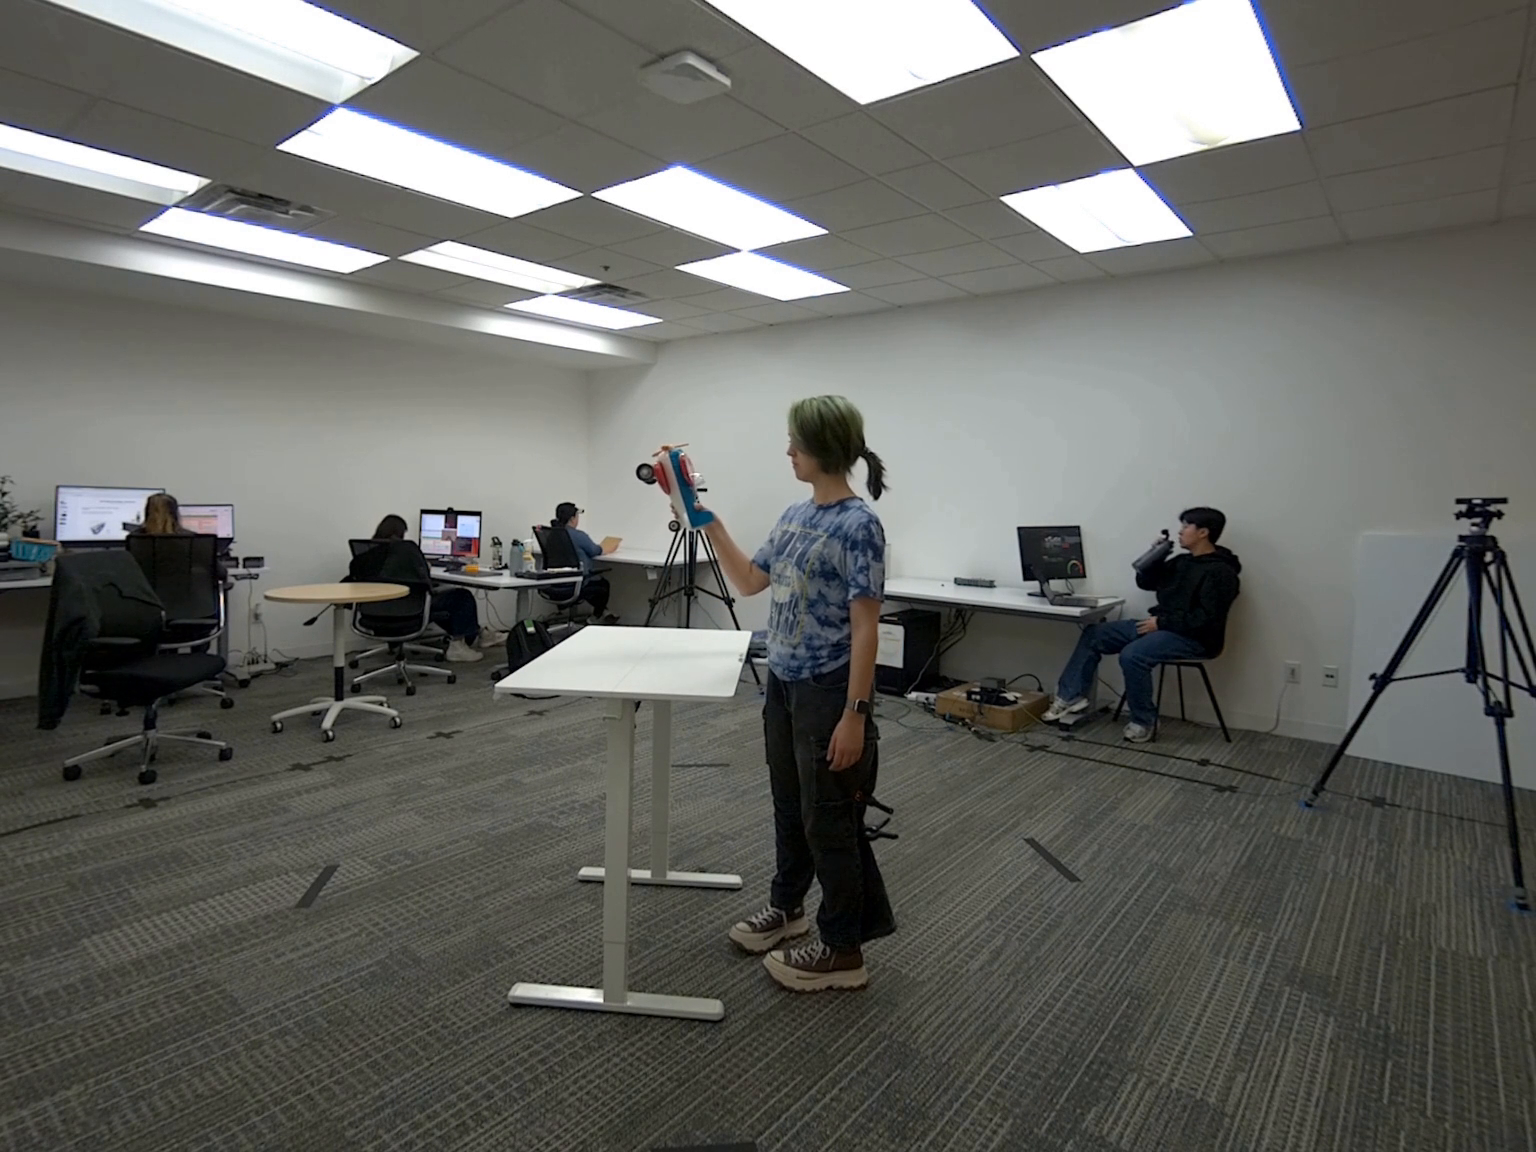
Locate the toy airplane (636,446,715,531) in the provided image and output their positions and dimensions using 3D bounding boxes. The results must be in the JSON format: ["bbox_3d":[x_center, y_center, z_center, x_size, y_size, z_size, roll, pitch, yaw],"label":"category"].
[{"bbox_3d":[-0.283,-0.256,2.526,0.156,0.251,0.259,-33,26,0],"label":"toy airplane"}]
